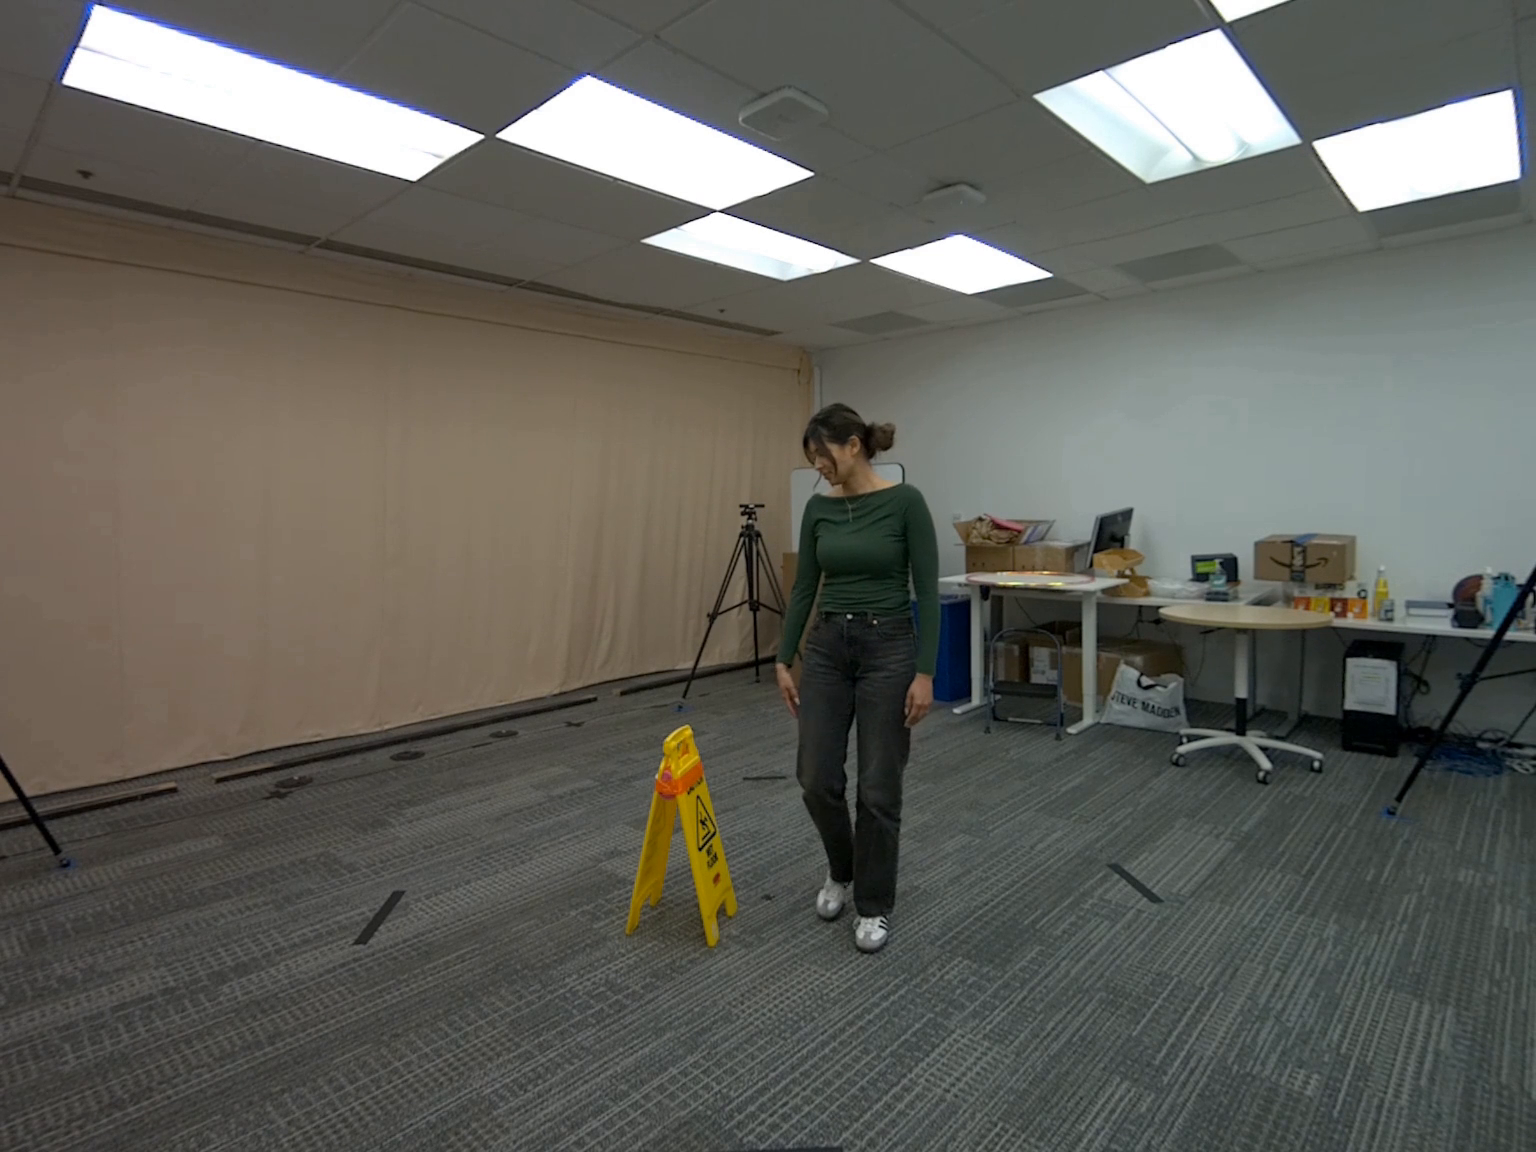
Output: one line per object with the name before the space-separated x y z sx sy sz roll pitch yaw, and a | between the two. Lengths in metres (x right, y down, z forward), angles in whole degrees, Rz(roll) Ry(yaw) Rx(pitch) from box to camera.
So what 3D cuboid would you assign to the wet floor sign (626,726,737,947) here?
wet floor sign | -0.288 0.839 2.803 0.295 0.644 0.278 1 5 17
